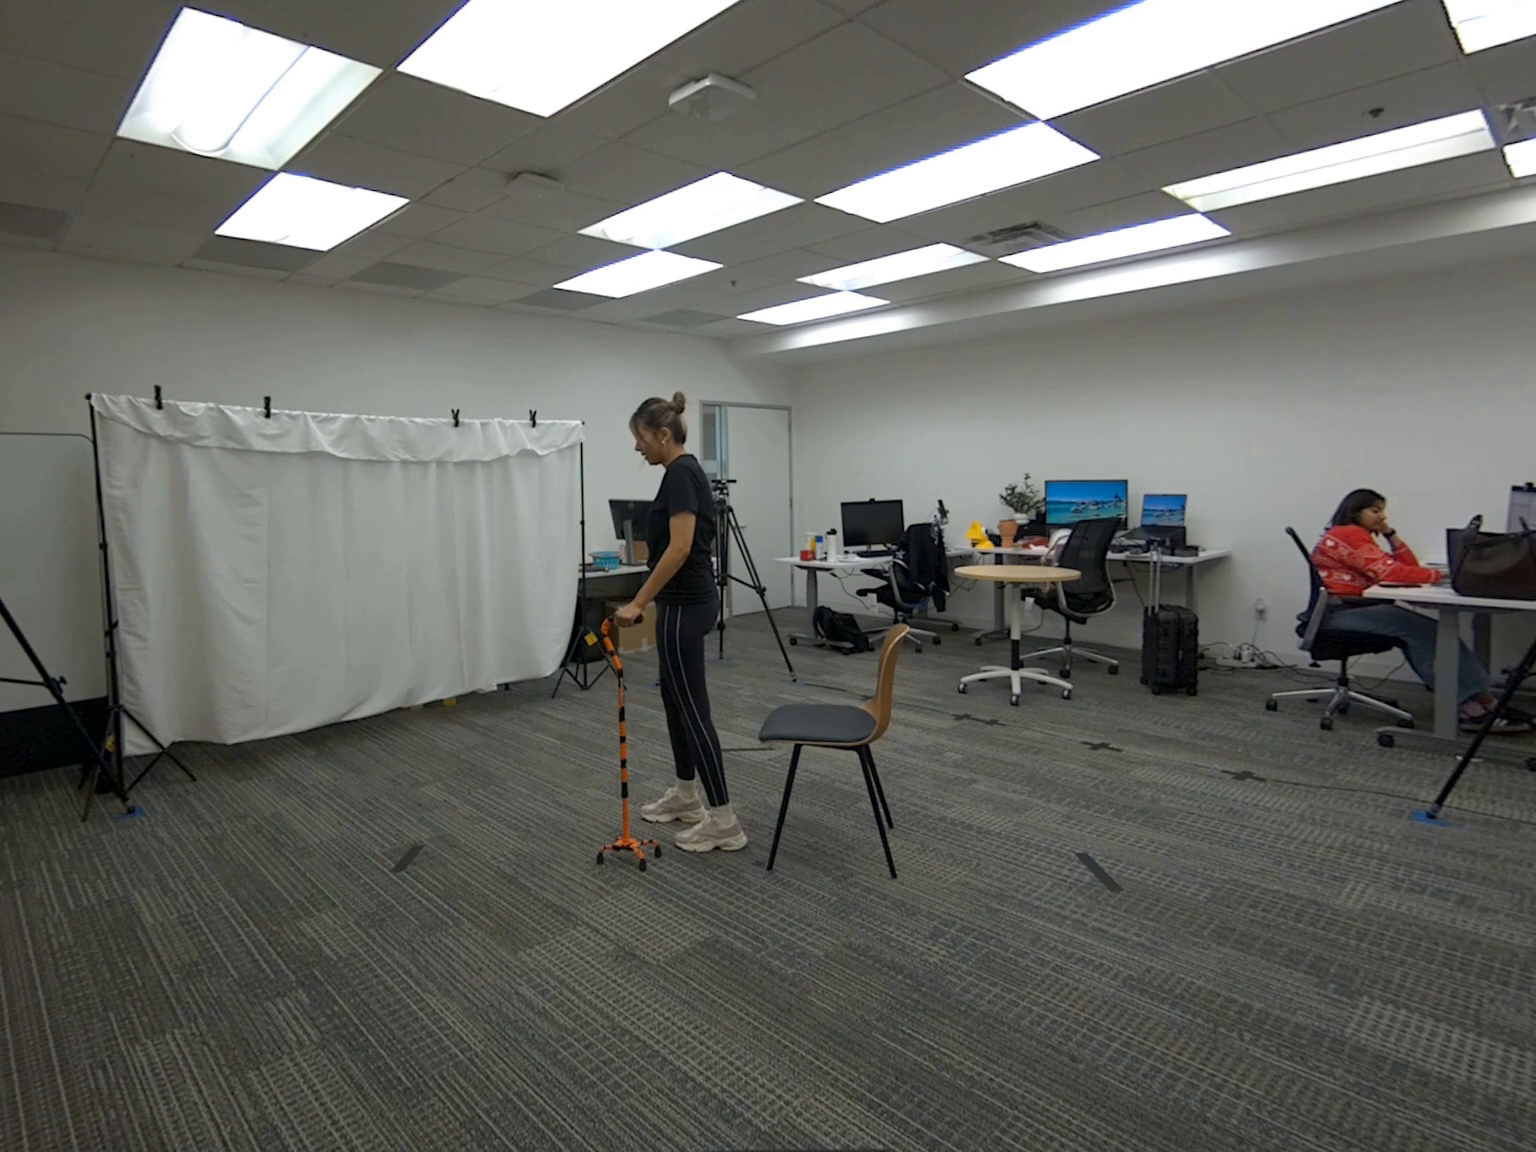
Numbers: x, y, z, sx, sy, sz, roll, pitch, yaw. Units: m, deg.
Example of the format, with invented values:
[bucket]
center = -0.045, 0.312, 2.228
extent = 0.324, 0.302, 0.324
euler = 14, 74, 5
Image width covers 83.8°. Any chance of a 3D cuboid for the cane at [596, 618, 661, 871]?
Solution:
[cane]
center = -0.525, 0.593, 3.145
extent = 0.210, 0.905, 0.149
euler = 0, 3, 21
